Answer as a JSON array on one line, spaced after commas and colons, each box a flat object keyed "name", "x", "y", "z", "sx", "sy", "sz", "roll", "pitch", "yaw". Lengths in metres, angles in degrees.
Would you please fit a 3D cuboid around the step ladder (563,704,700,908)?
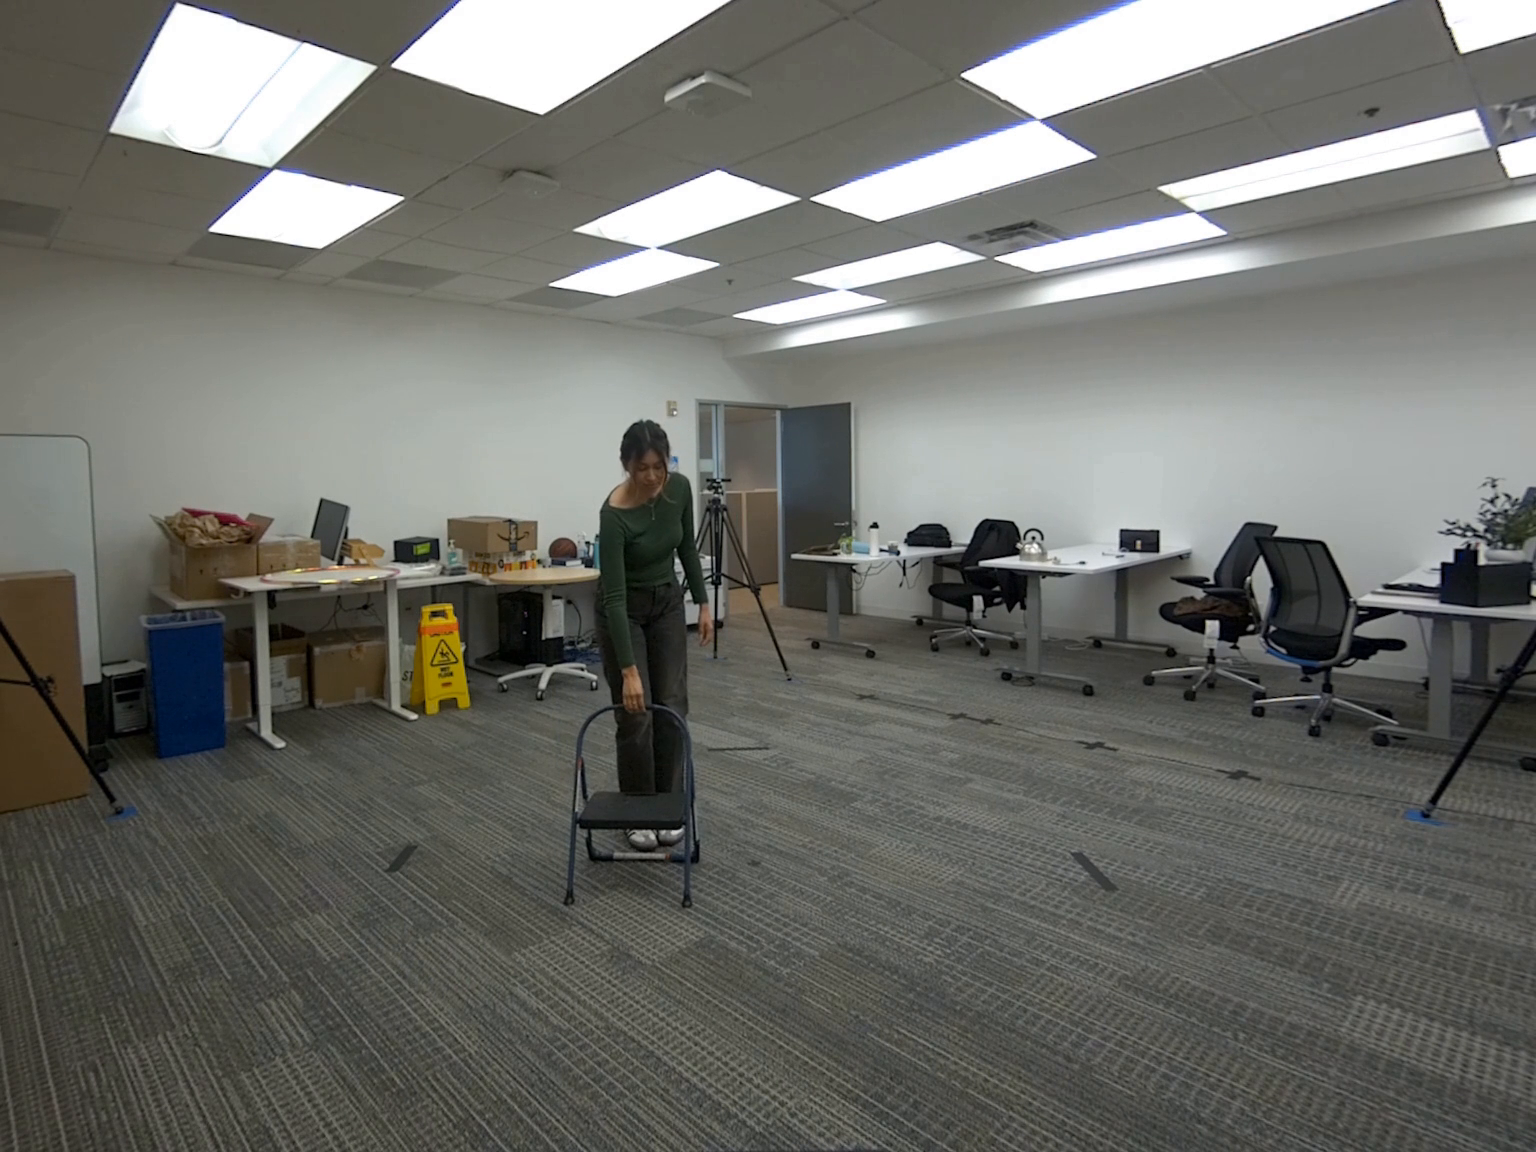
[{"name": "step ladder", "x": -0.466, "y": 0.761, "z": 2.961, "sx": 0.432, "sy": 0.604, "sz": 0.349, "roll": 0, "pitch": 5, "yaw": 3}]
